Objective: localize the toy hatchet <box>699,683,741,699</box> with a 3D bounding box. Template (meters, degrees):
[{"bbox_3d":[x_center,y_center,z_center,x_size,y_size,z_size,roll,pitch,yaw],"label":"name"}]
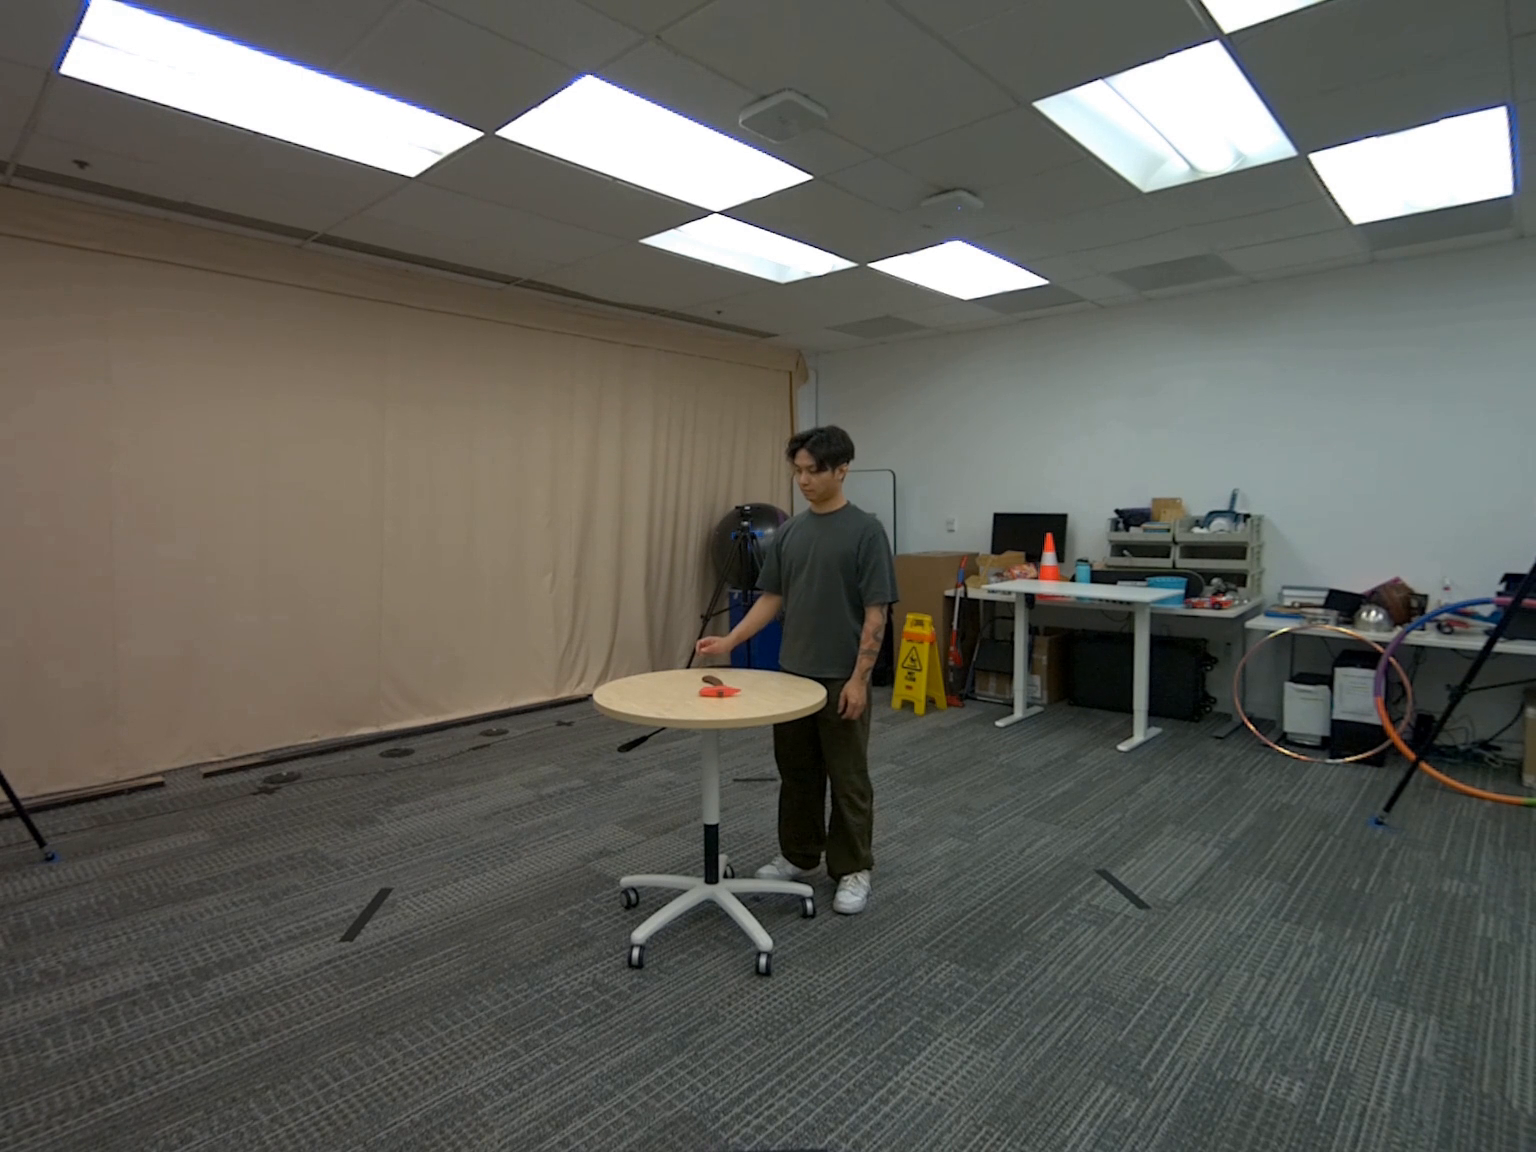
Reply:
[{"bbox_3d":[-0.188,0.363,2.788,0.128,0.029,0.276,-6,5,-23],"label":"toy hatchet"}]
